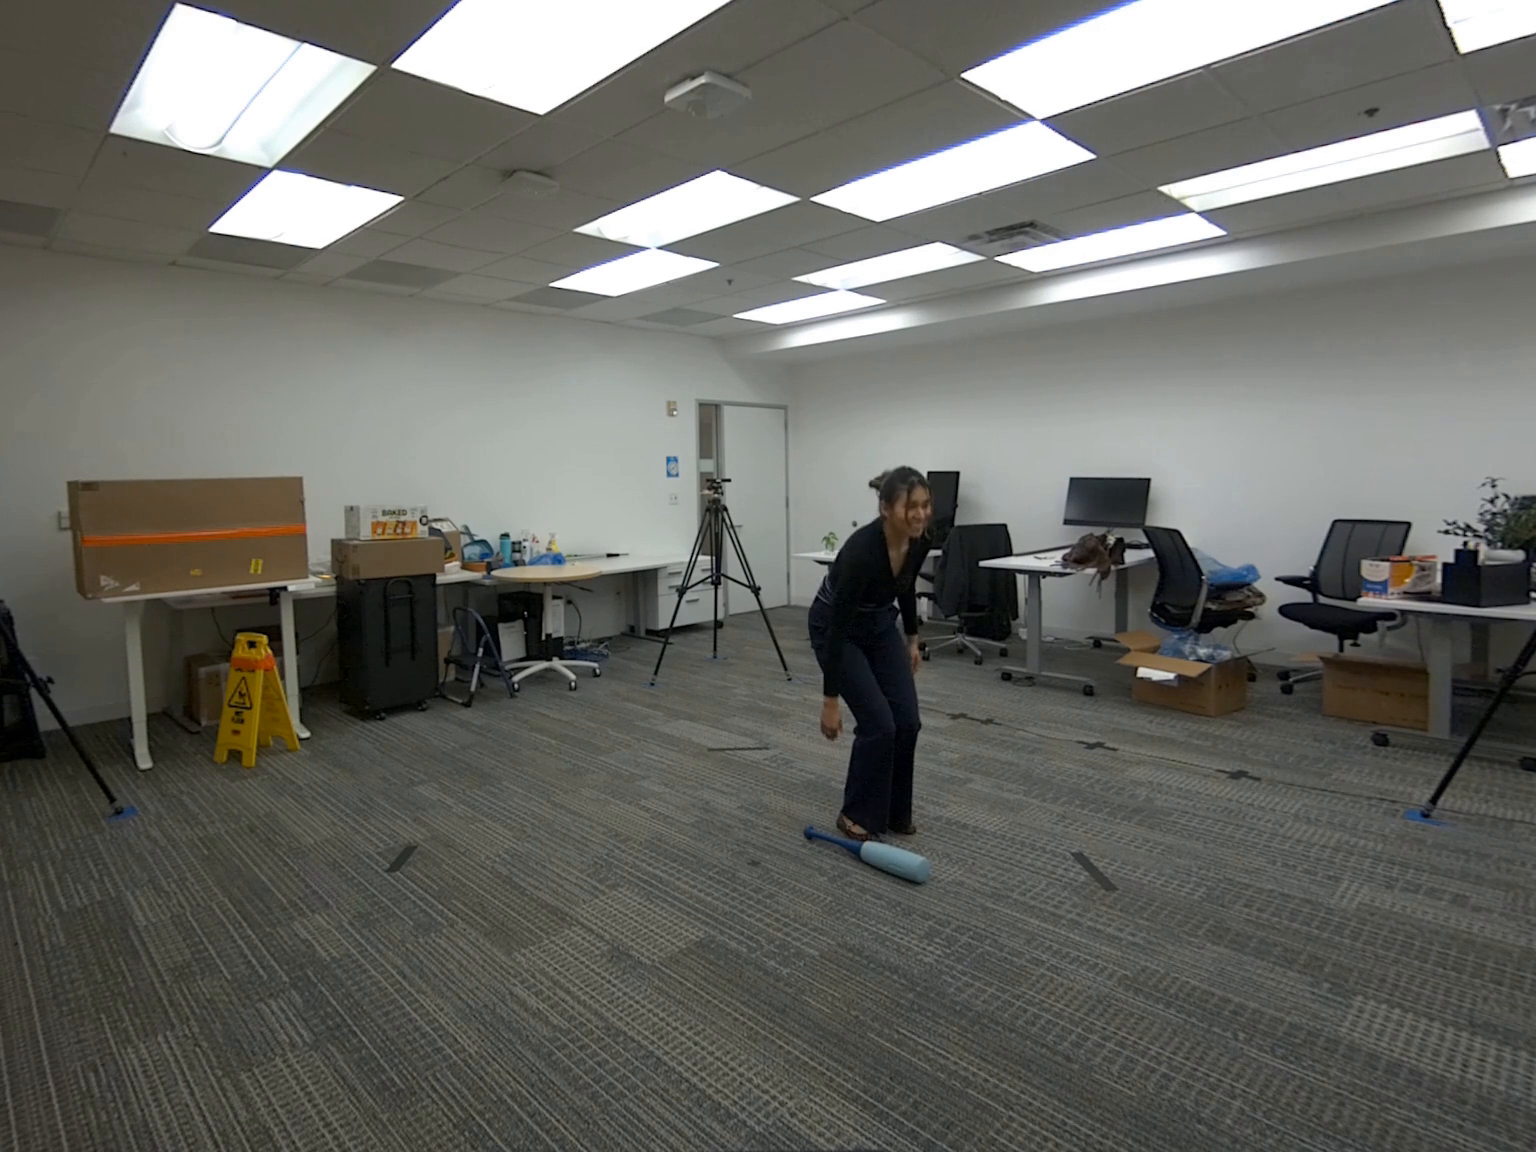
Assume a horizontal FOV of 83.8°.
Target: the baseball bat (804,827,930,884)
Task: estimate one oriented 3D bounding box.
[{"bbox_3d":[0.349,1.004,3.115,0.087,0.089,0.558,-5,4,-43],"label":"baseball bat"}]
